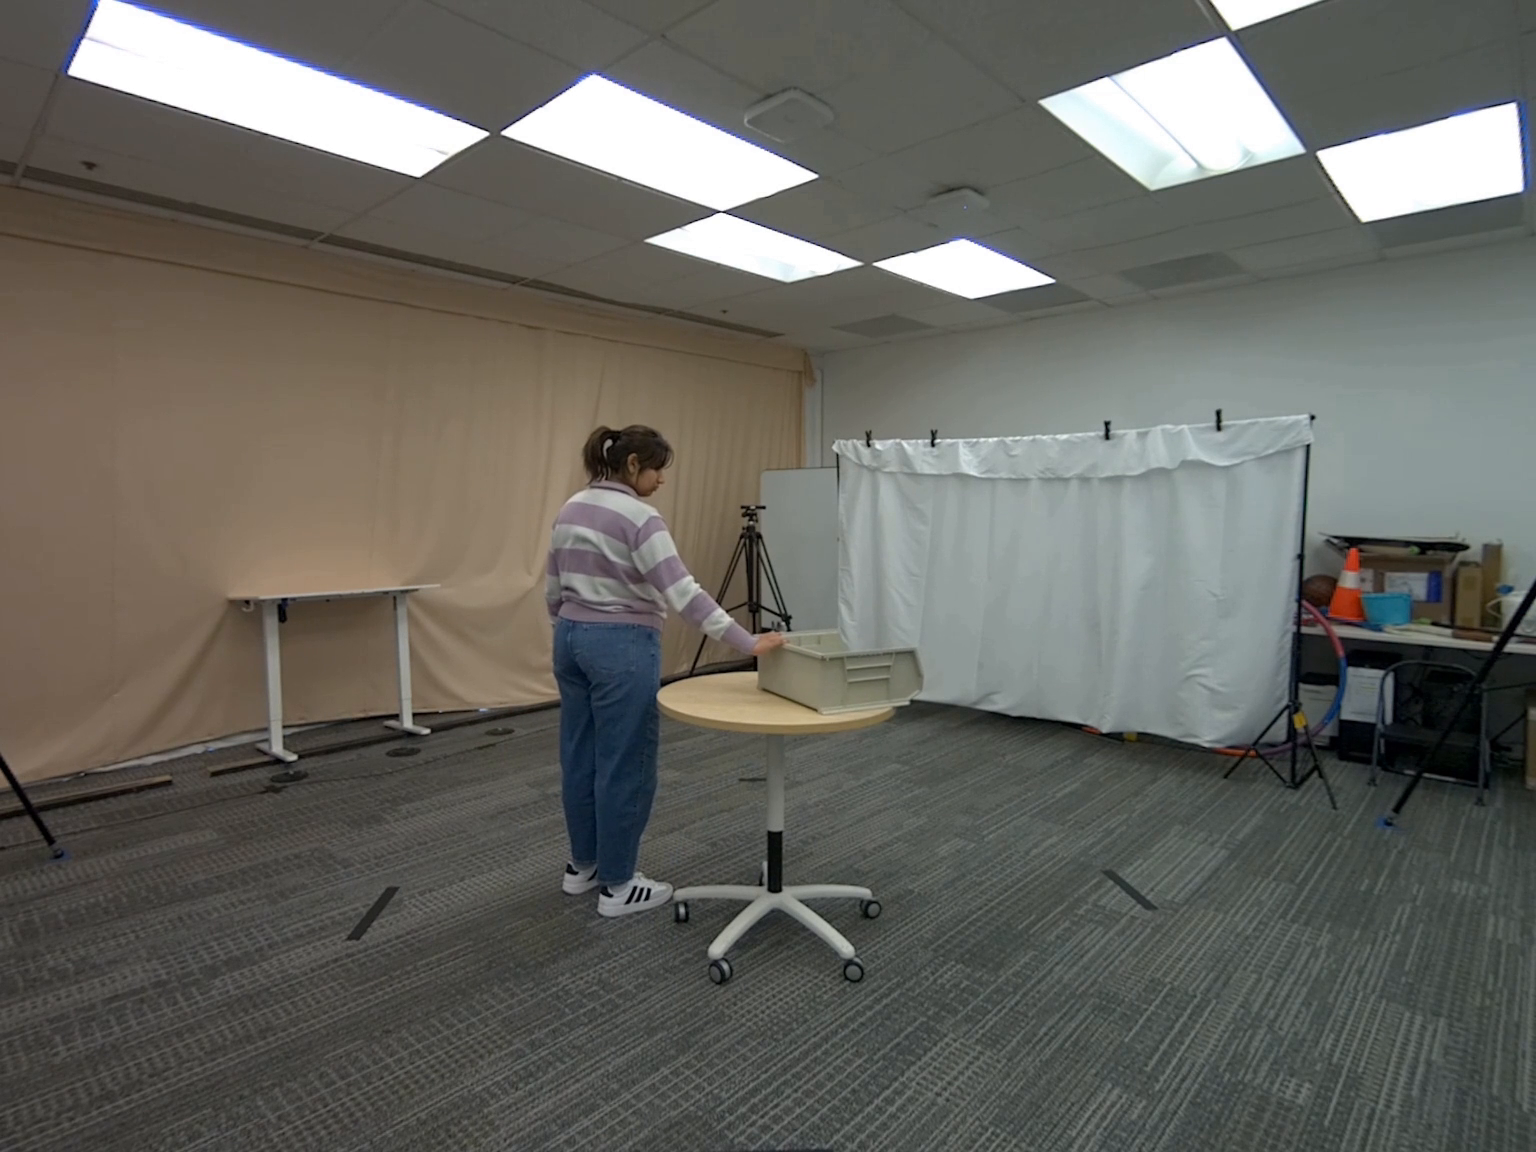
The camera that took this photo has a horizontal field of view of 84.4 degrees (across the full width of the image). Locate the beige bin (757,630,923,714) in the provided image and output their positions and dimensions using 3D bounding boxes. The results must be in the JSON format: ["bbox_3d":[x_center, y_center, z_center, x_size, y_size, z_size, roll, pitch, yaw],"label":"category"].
[{"bbox_3d":[0.215,0.298,2.691,0.368,0.188,0.434,-4,6,-29],"label":"beige bin"}]
